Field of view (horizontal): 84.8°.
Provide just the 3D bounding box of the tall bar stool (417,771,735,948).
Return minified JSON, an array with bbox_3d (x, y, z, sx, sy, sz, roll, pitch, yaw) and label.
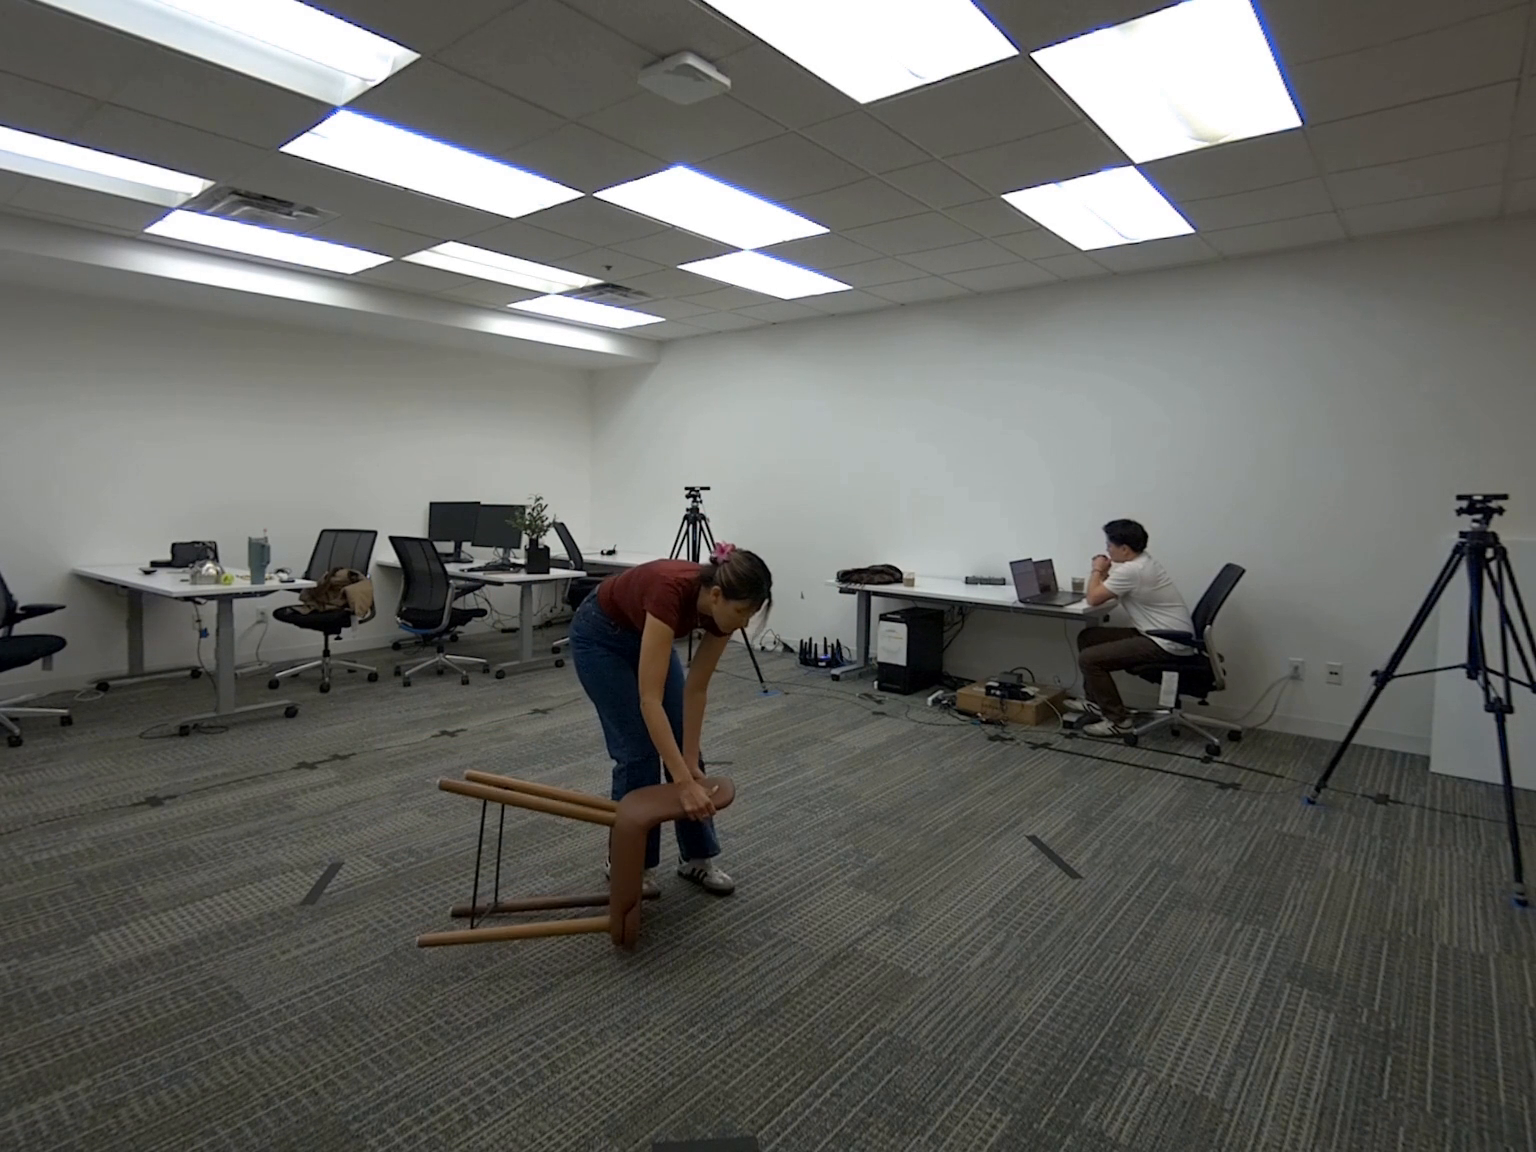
[{"bbox_3d":[-0.569,0.854,2.620,0.886,0.473,0.453,1,-11,-4],"label":"tall bar stool"}]
